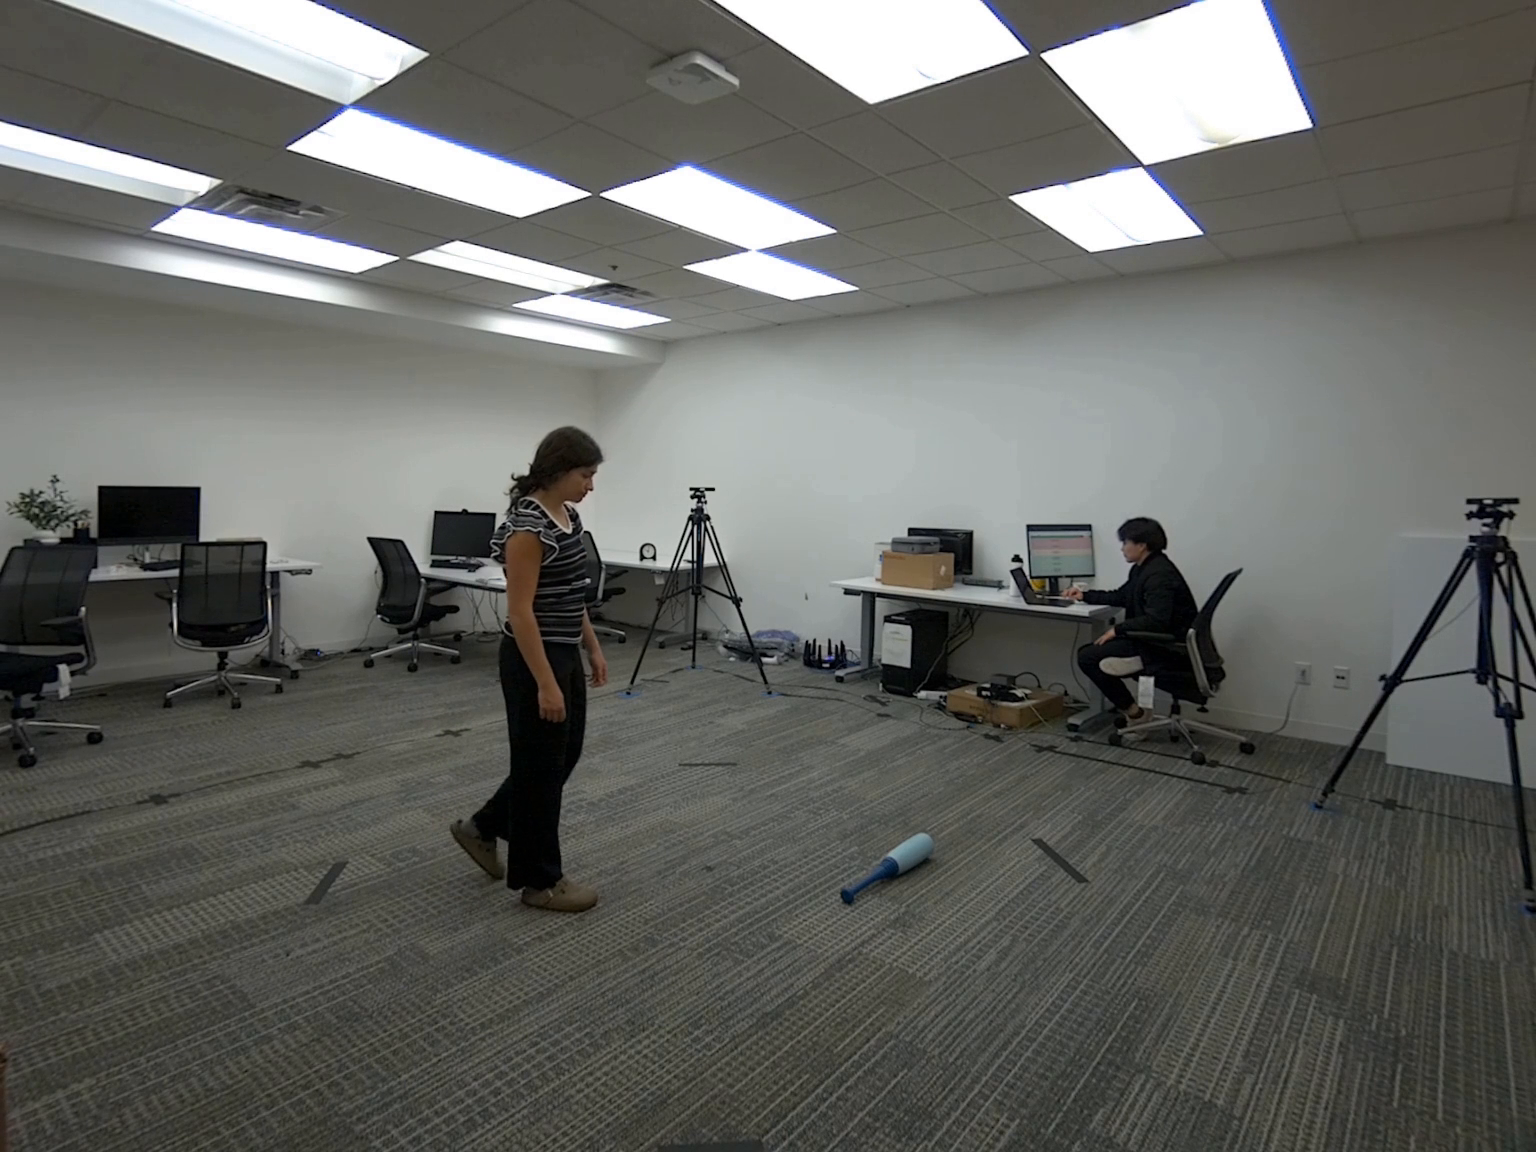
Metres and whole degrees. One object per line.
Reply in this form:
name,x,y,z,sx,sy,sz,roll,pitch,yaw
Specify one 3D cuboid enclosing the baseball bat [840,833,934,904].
baseball bat,0.428,1.055,3.060,0.092,0.088,0.528,4,10,41
